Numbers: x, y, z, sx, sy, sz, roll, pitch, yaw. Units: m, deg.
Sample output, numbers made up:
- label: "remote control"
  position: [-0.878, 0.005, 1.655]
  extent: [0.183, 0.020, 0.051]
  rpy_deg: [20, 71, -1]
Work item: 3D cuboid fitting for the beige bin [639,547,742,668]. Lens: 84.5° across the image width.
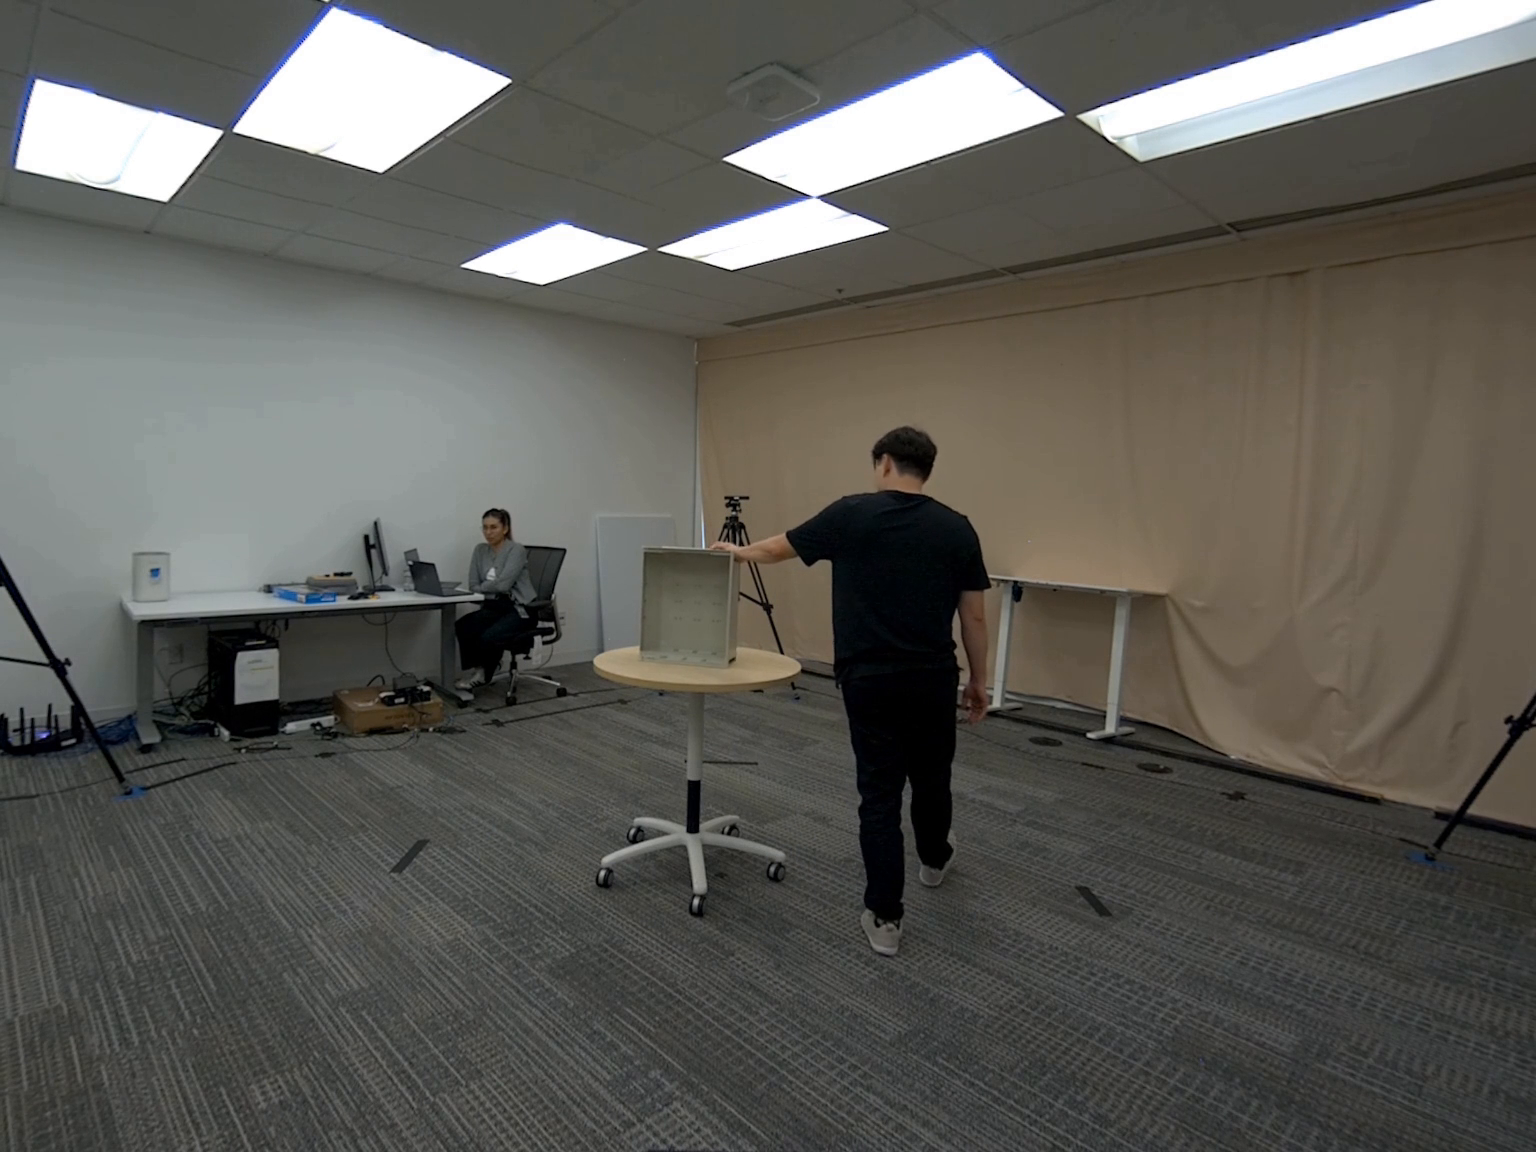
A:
- label: "beige bin"
  position: [-0.307, 0.106, 3.129]
  extent: [0.382, 0.422, 0.187]
  rpy_deg: [3, 2, 13]
